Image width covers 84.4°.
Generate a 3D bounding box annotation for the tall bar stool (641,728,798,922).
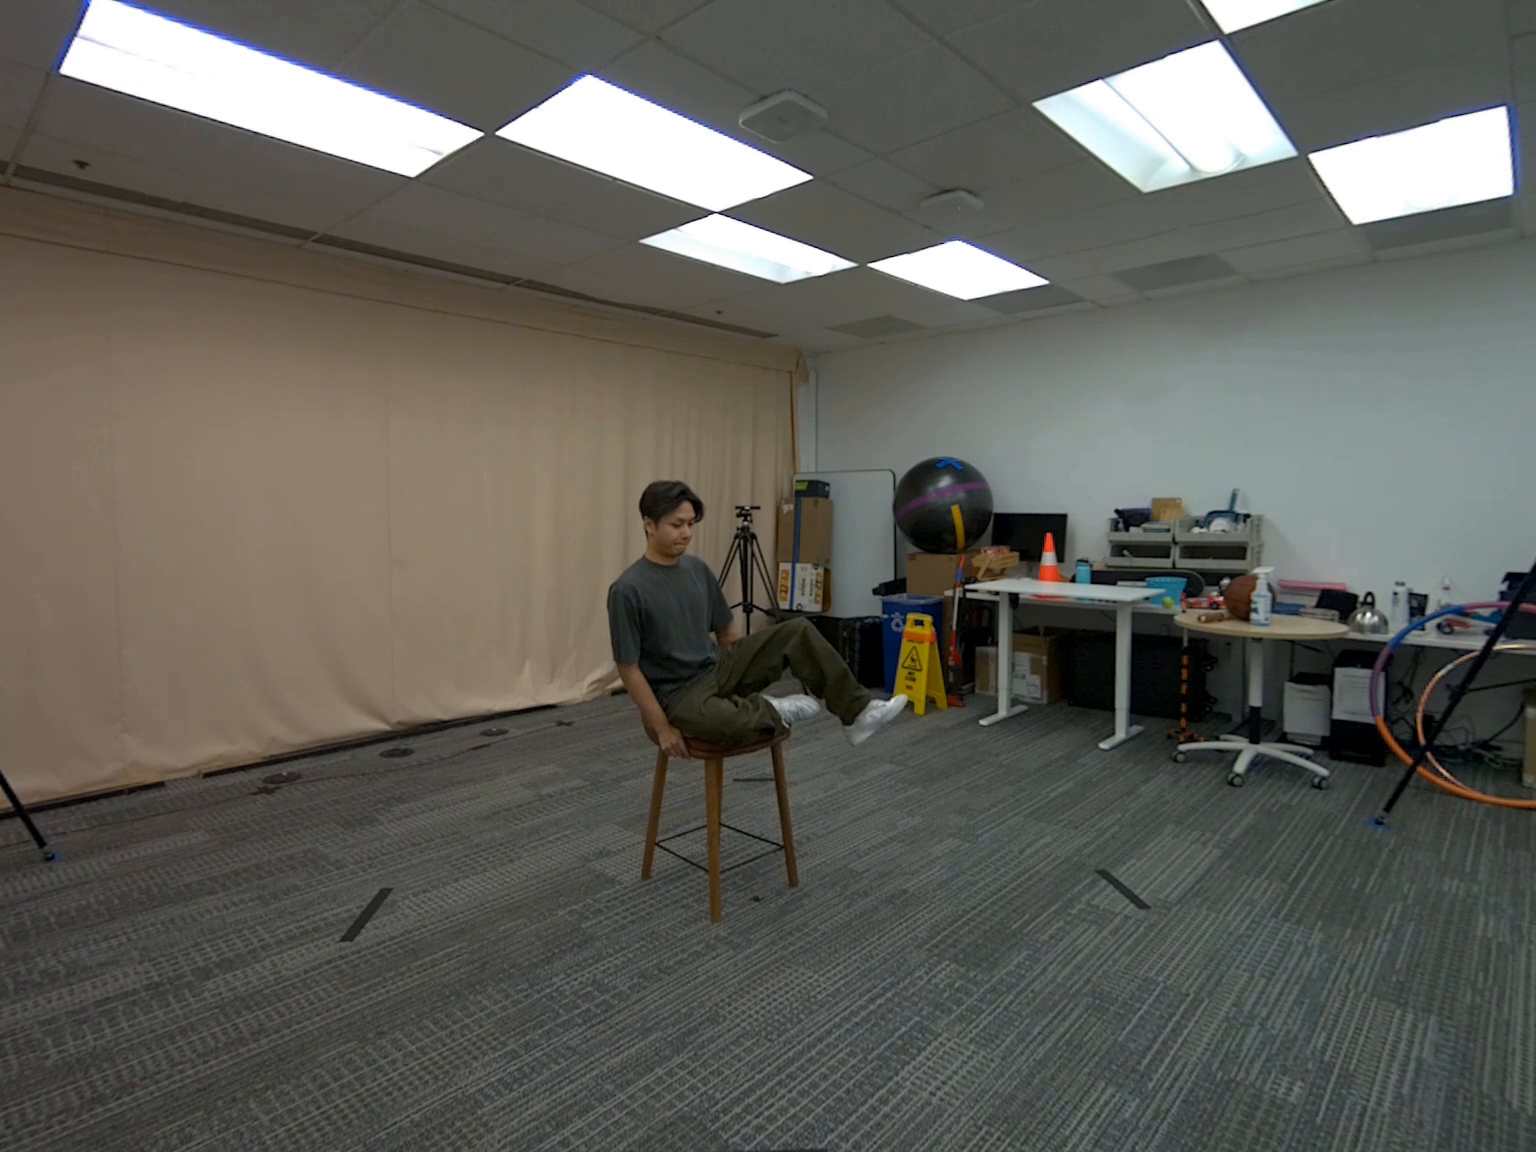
[{"bbox_3d":[-0.193,0.700,3.100,0.442,0.889,0.483,-3,2,-42],"label":"tall bar stool"}]
